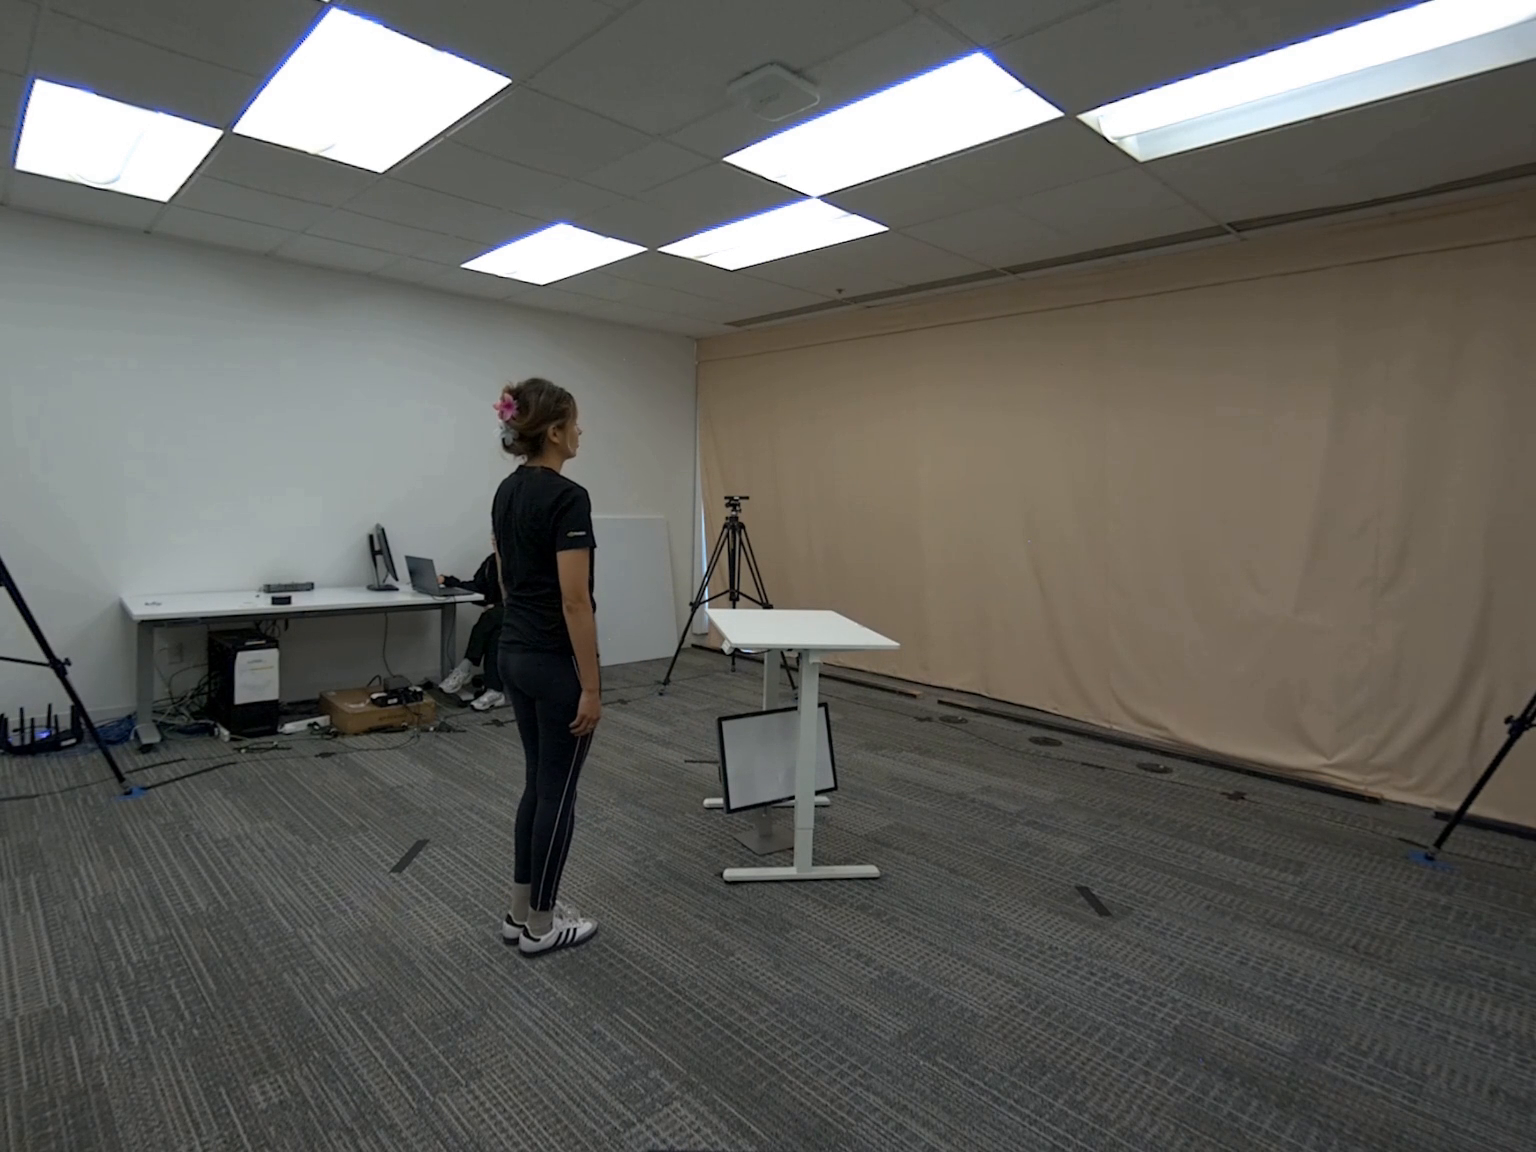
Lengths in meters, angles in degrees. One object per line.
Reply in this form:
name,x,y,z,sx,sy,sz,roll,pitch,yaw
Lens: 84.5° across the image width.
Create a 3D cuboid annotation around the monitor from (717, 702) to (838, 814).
monitor,0.013,0.814,3.412,0.527,0.521,0.192,-2,6,-37
